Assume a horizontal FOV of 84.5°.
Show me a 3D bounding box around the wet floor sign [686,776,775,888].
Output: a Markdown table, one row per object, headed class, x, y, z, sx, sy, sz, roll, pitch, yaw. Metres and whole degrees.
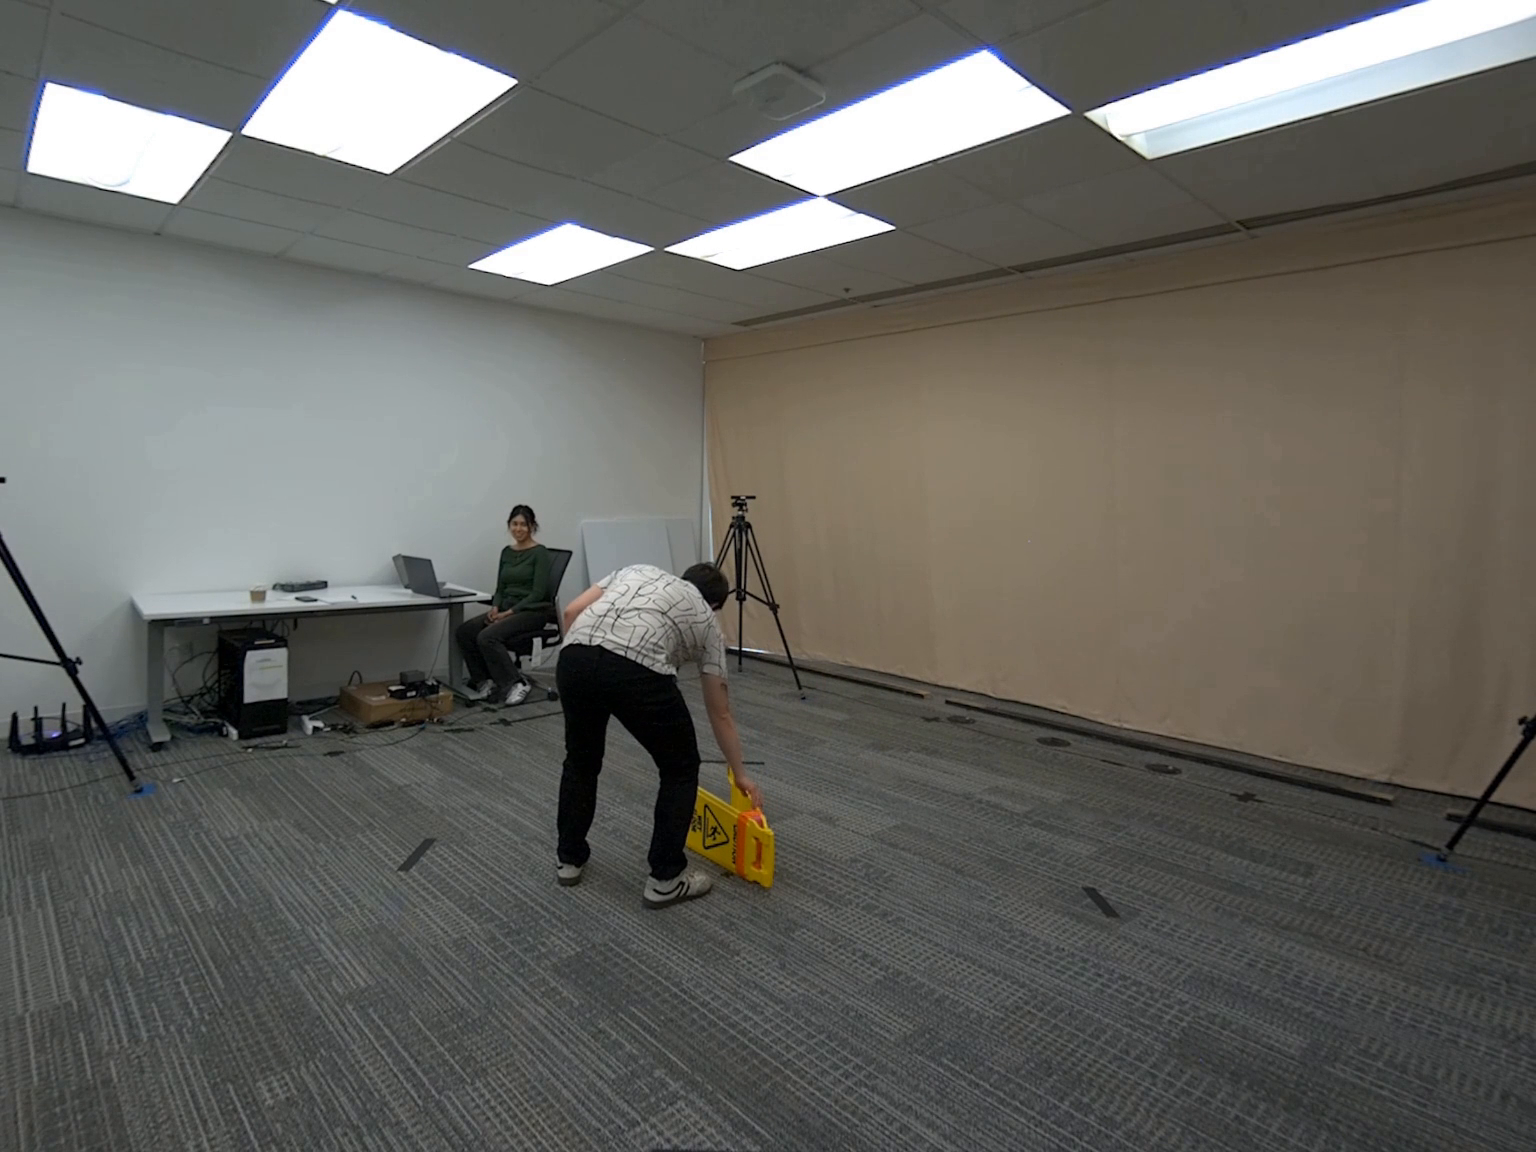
| class | x | y | z | sx | sy | sz | roll | pitch | yaw |
| --- | --- | --- | --- | --- | --- | --- | --- | --- | --- |
| wet floor sign | -0.148 | 0.959 | 3.238 | 0.284 | 0.281 | 0.661 | -2 | 7 | -28 |
